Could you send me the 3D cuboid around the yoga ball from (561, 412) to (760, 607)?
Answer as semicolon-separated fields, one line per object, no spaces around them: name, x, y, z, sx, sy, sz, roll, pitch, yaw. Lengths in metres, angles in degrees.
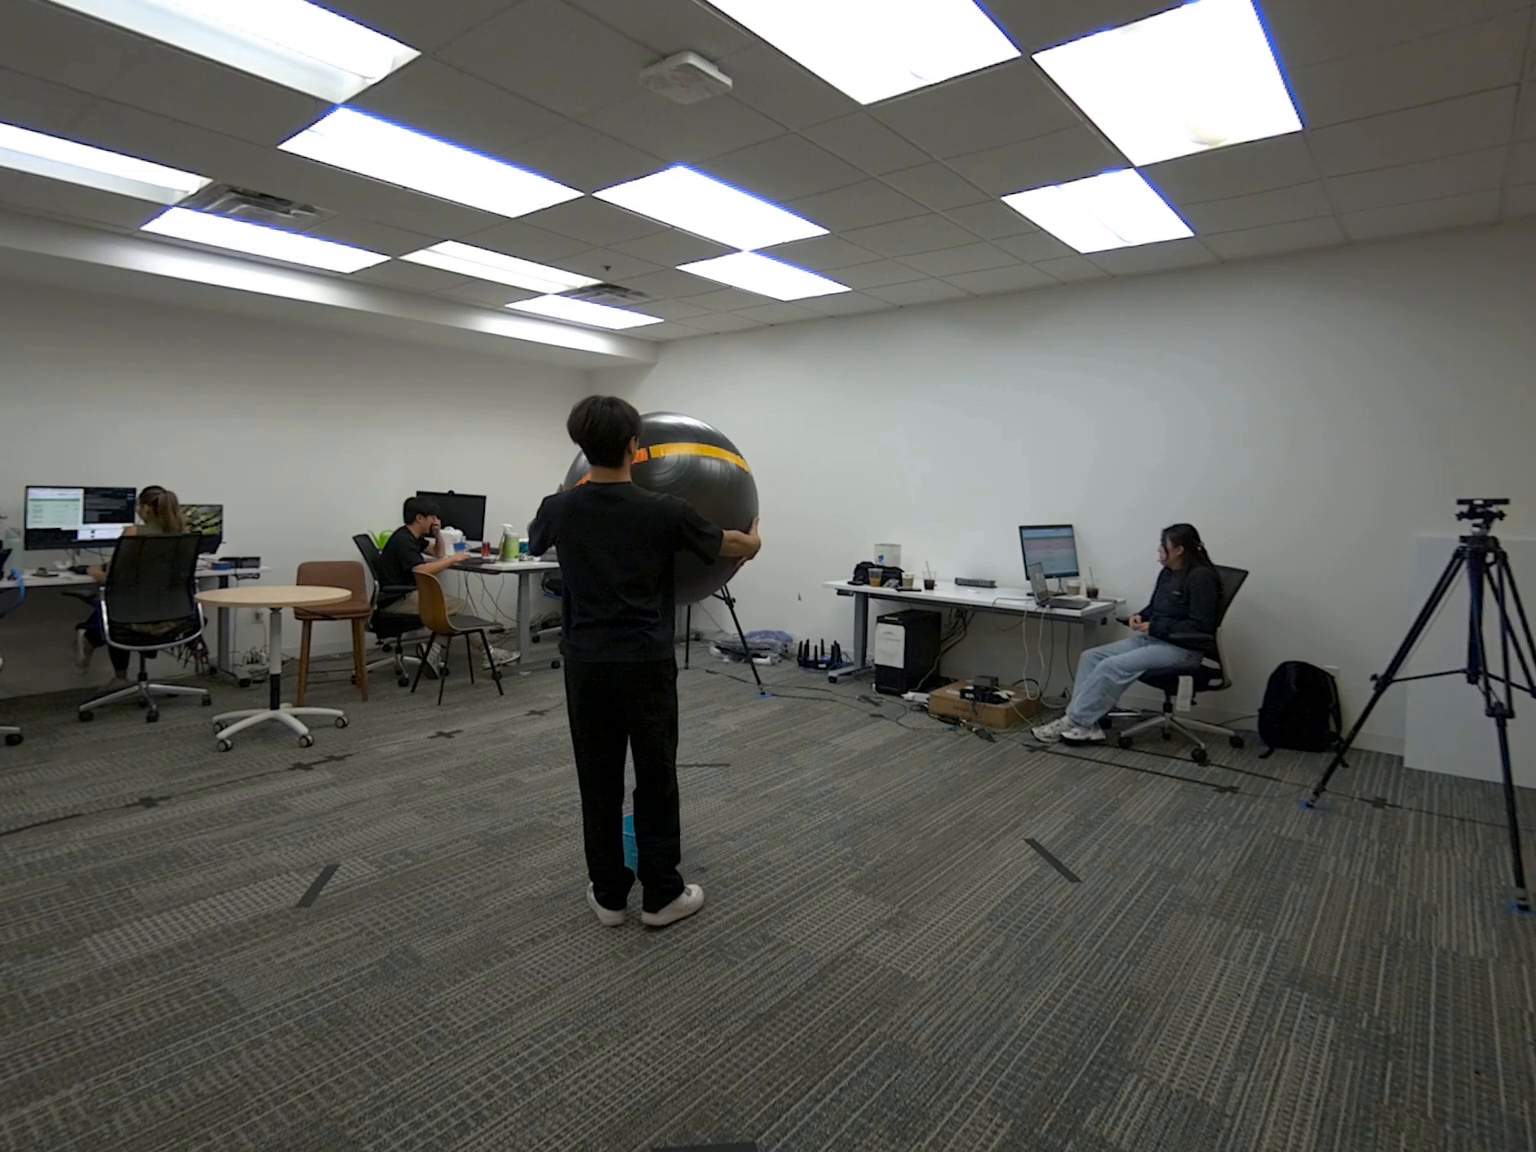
yoga ball;-0.420;-0.244;3.266;0.757;0.756;0.761;1;4;-2
